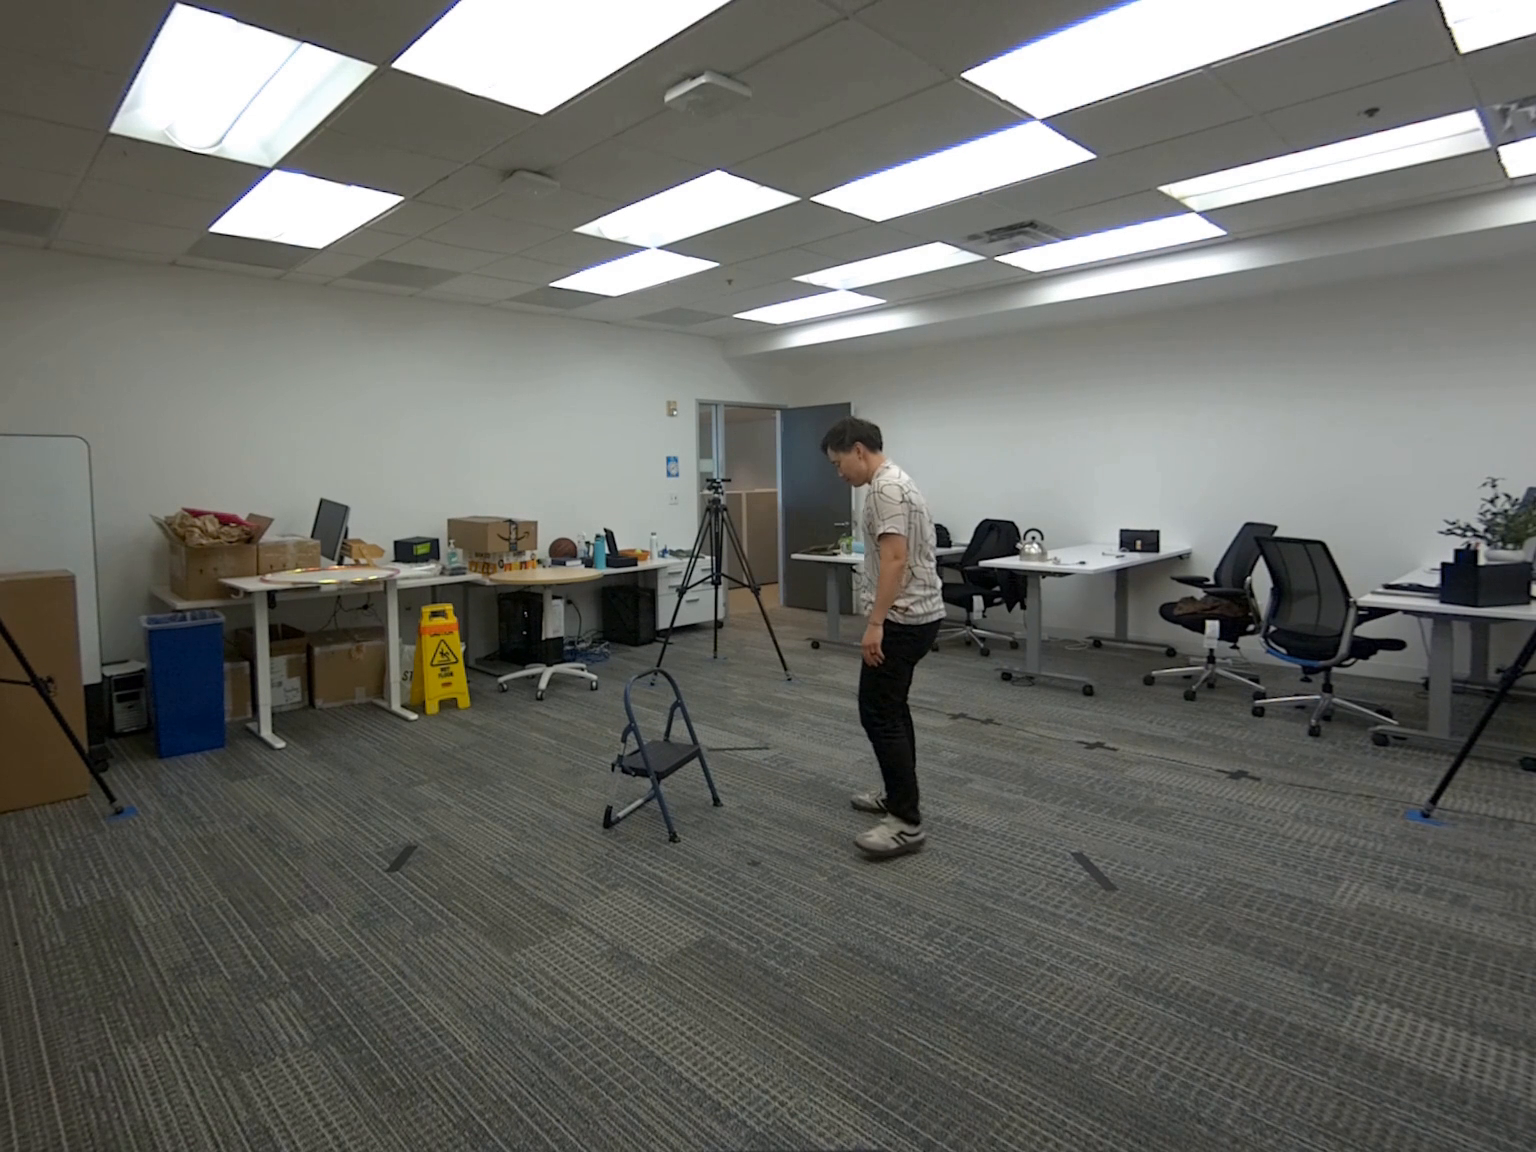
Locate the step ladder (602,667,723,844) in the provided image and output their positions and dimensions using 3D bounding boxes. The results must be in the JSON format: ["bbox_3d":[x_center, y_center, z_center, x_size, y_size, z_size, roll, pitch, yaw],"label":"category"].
[{"bbox_3d":[-0.438,0.697,3.540,0.357,0.604,0.423,0,4,23],"label":"step ladder"}]
